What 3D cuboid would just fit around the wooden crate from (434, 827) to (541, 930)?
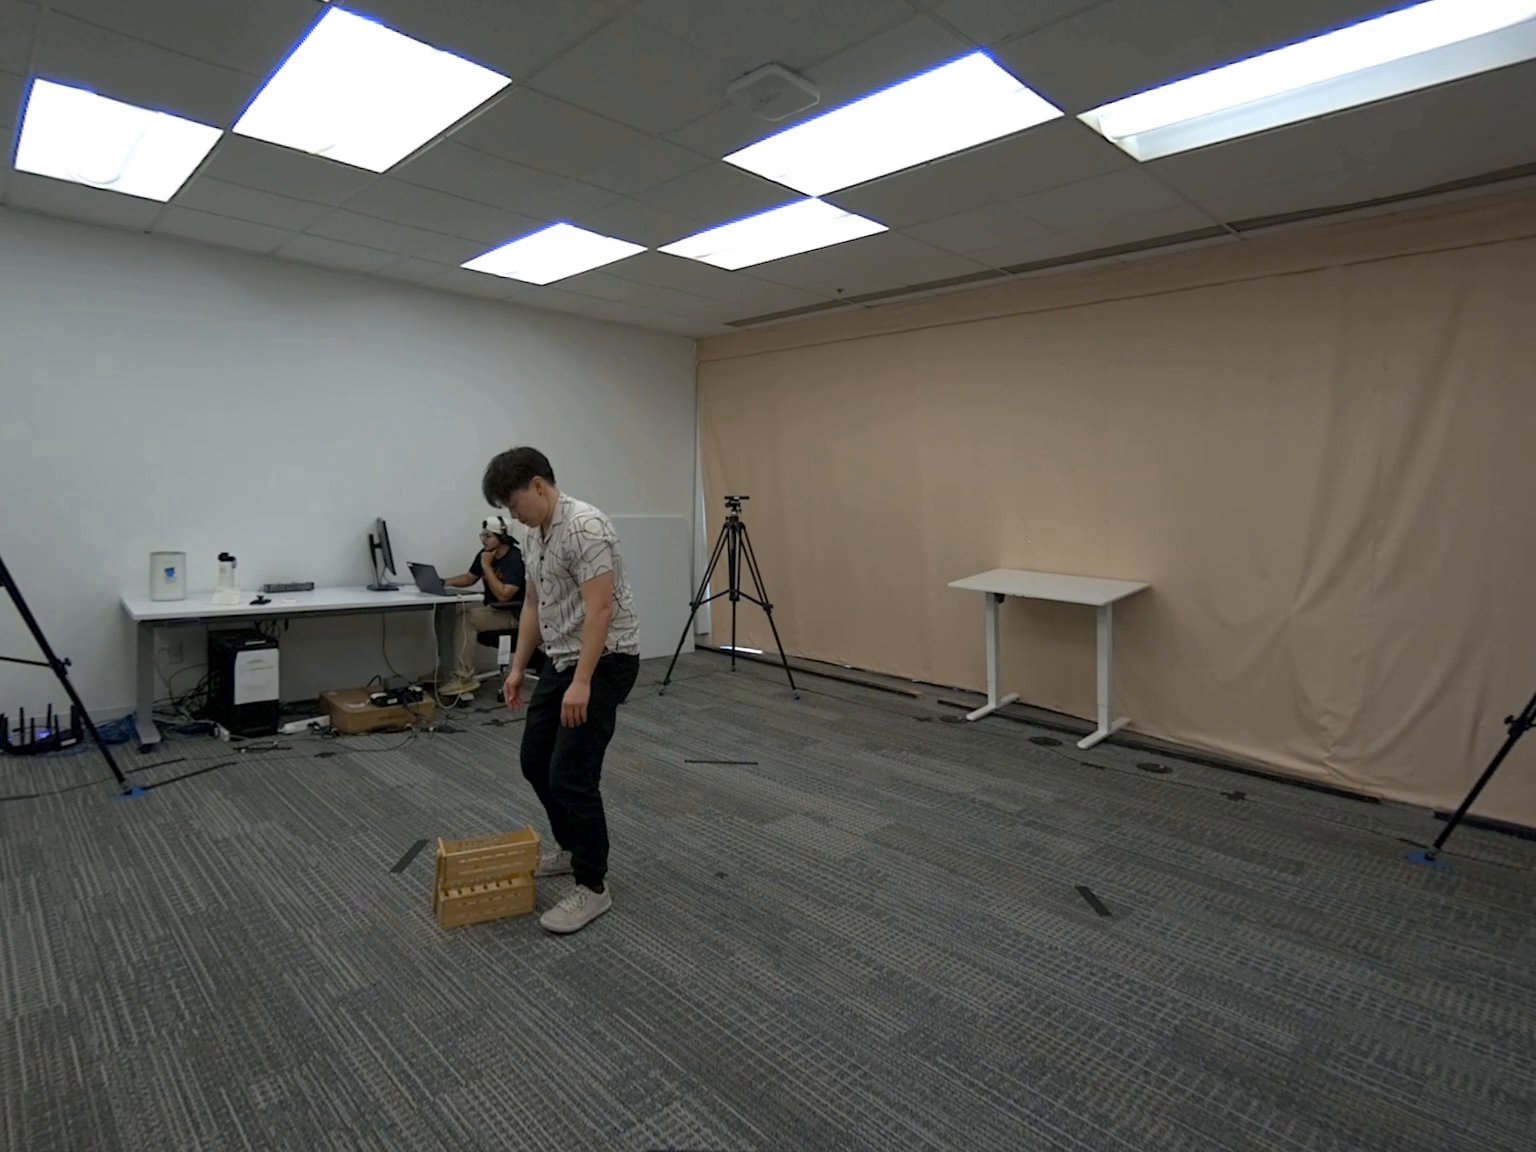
[{"bbox_3d":[-0.955,0.978,2.819,0.318,0.272,0.309,-1,6,-28],"label":"wooden crate"}]
